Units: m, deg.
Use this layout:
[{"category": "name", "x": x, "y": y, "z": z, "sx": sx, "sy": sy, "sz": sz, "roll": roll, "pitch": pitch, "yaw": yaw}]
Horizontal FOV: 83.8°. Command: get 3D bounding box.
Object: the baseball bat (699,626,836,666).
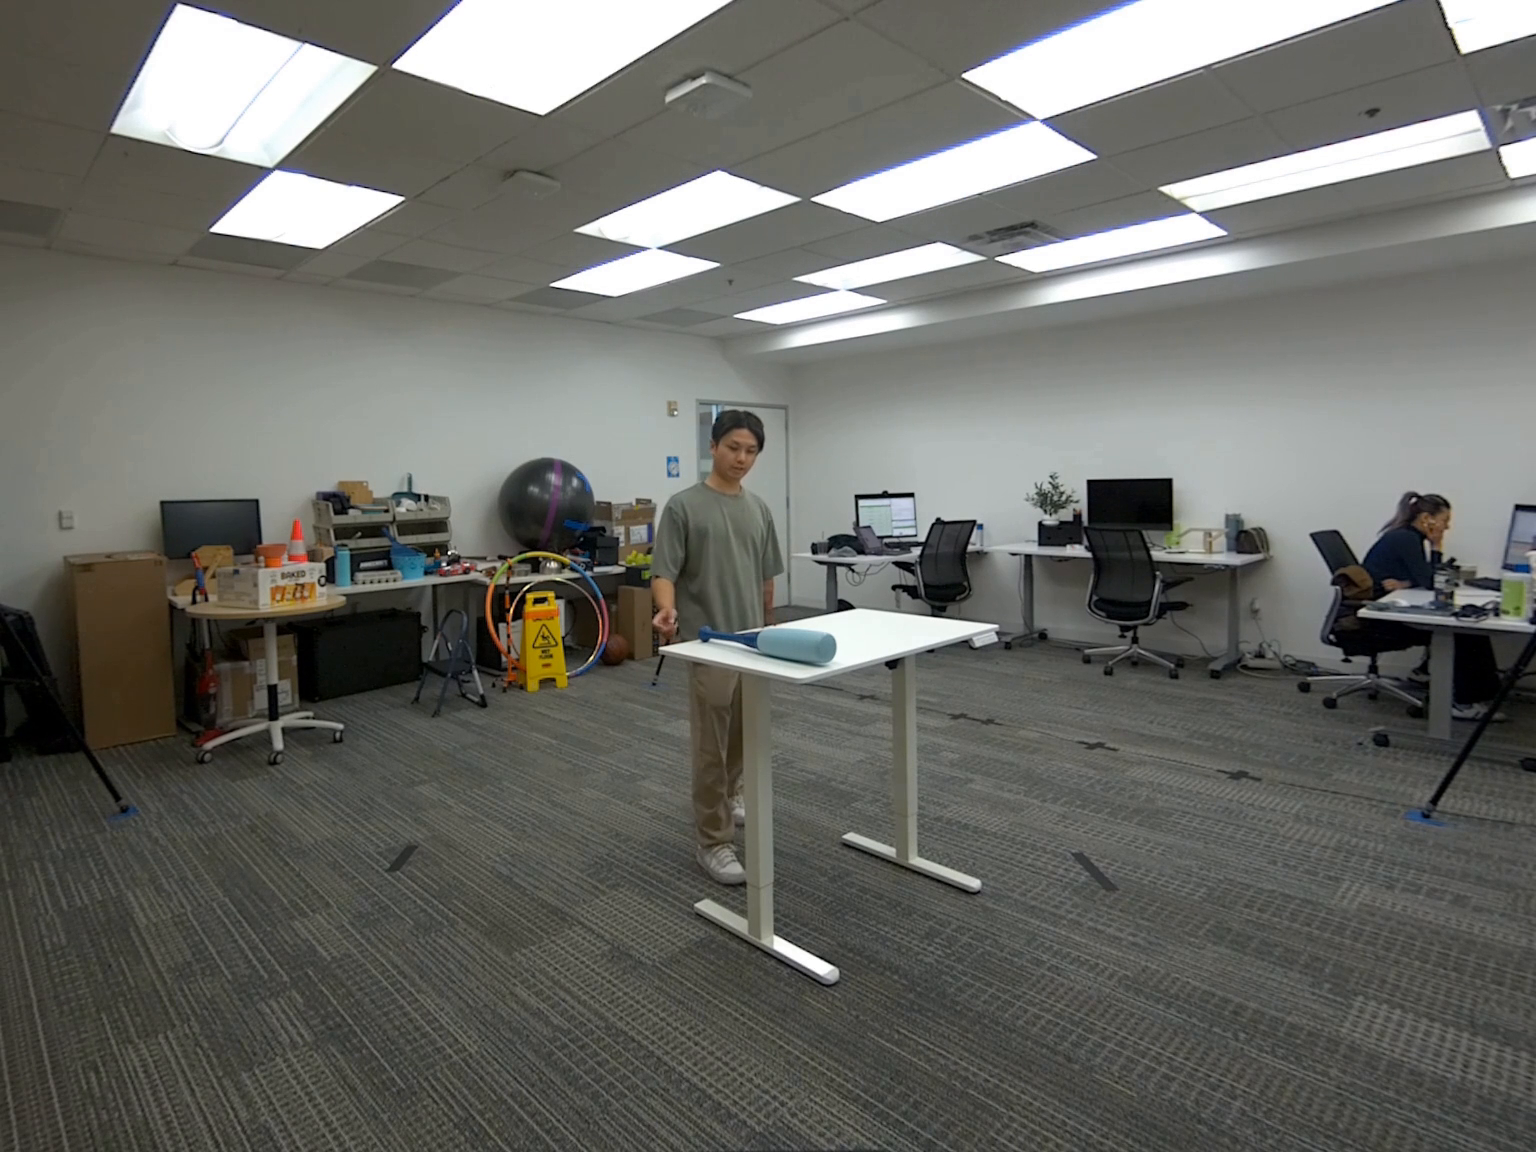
[{"category": "baseball bat", "x": -0.024, "y": 0.197, "z": 2.531, "sx": 0.087, "sy": 0.089, "sz": 0.559, "roll": -5, "pitch": 4, "yaw": -43}]
